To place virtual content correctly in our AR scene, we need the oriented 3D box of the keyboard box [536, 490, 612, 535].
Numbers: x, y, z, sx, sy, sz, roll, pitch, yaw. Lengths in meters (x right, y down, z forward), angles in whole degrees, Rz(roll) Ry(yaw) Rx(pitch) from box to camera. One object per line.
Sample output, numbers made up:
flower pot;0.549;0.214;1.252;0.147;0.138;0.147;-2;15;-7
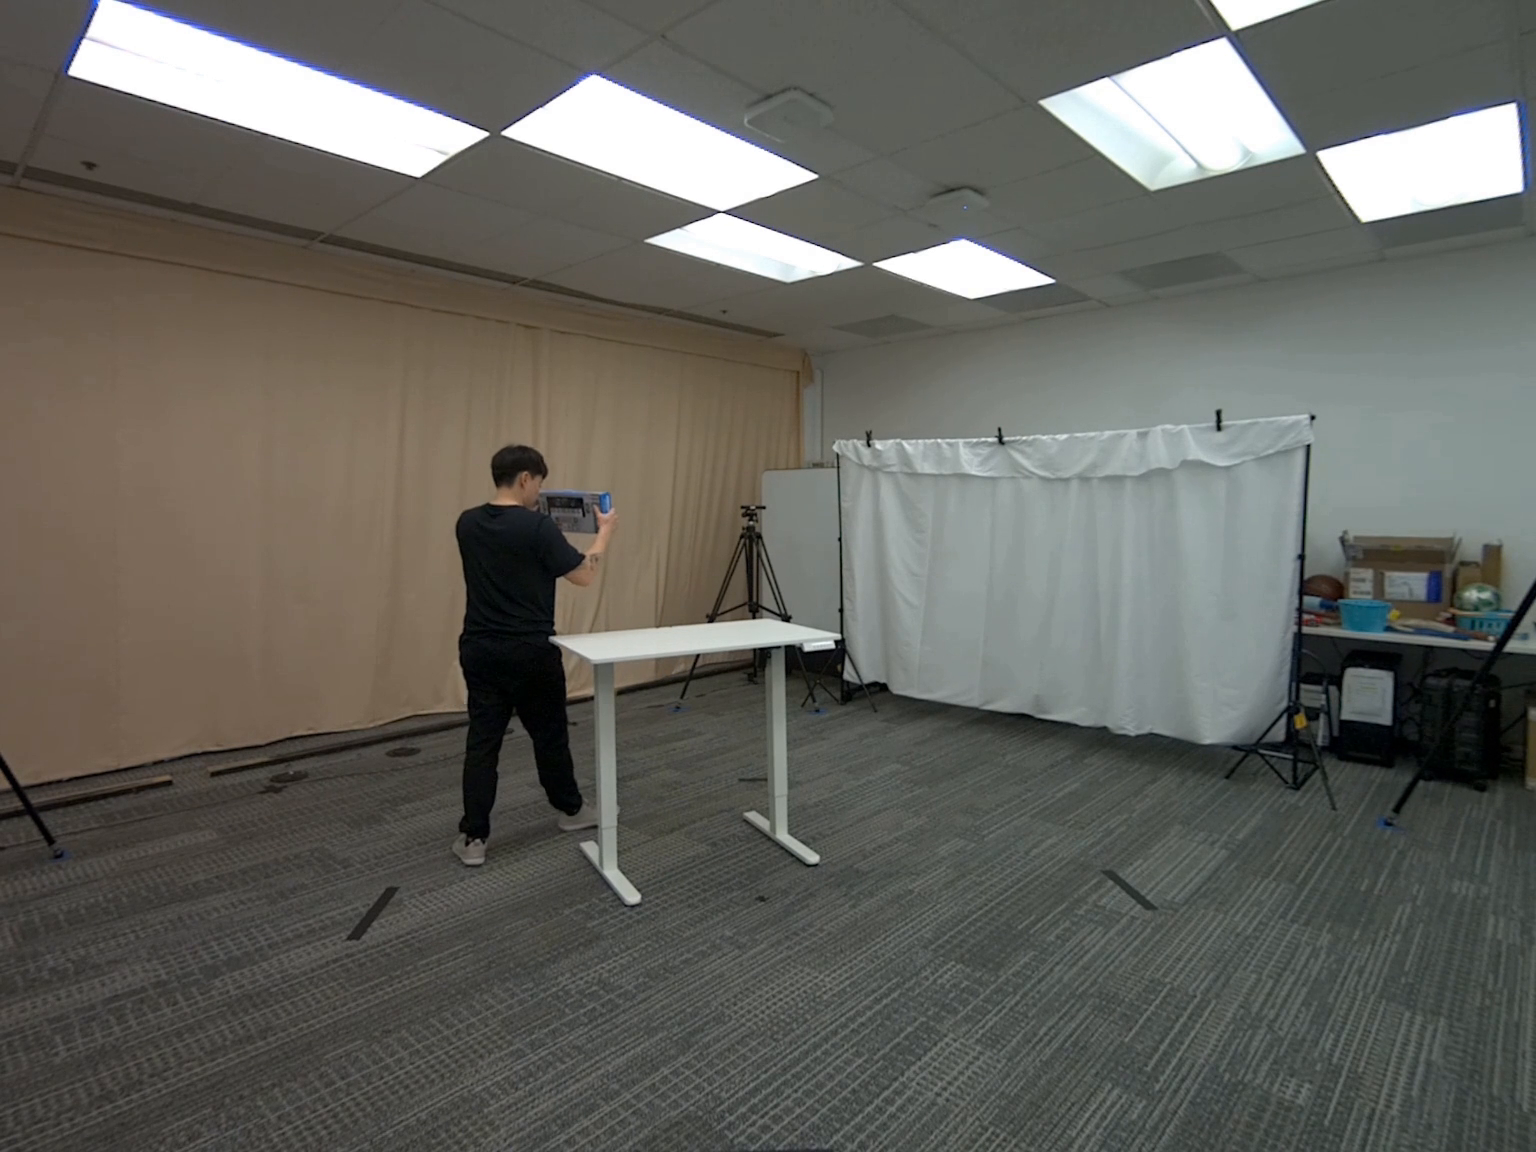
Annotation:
keyboard box;-0.853;-0.280;3.660;0.451;0.175;0.058;5;13;34
